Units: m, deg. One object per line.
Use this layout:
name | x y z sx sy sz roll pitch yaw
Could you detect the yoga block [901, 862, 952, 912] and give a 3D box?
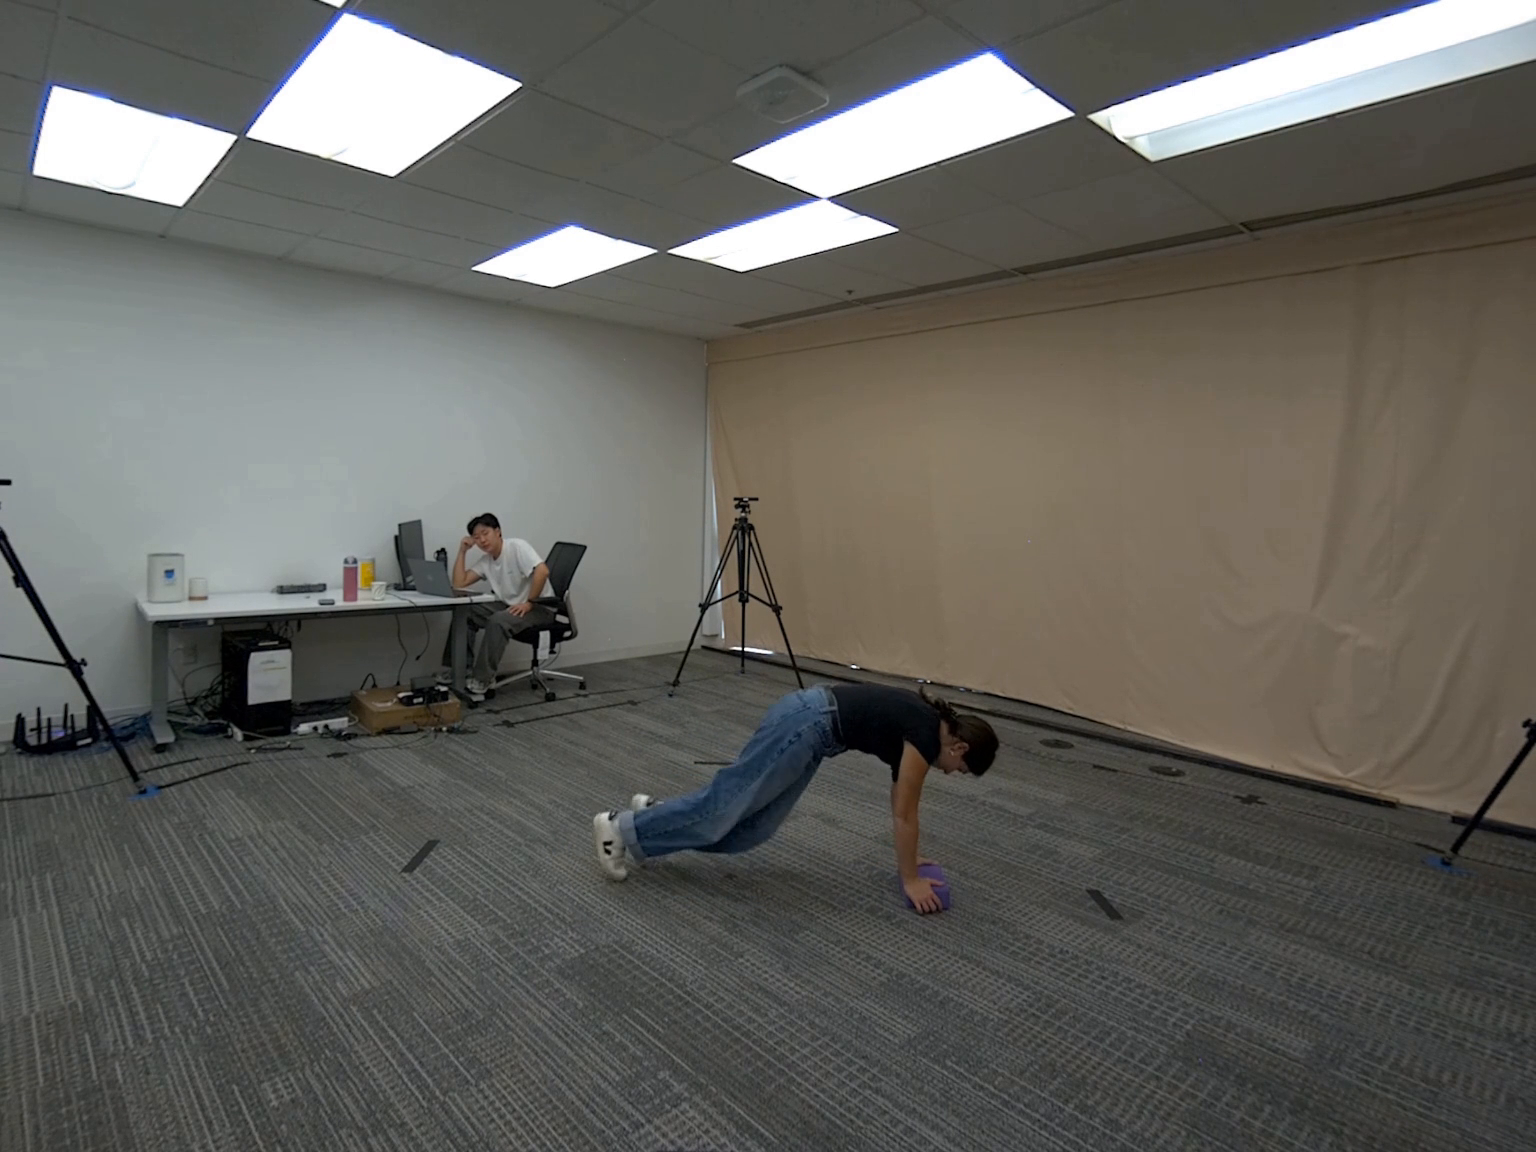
yoga block | 0.549 1.100 2.985 0.149 0.076 0.229 0 4 2
